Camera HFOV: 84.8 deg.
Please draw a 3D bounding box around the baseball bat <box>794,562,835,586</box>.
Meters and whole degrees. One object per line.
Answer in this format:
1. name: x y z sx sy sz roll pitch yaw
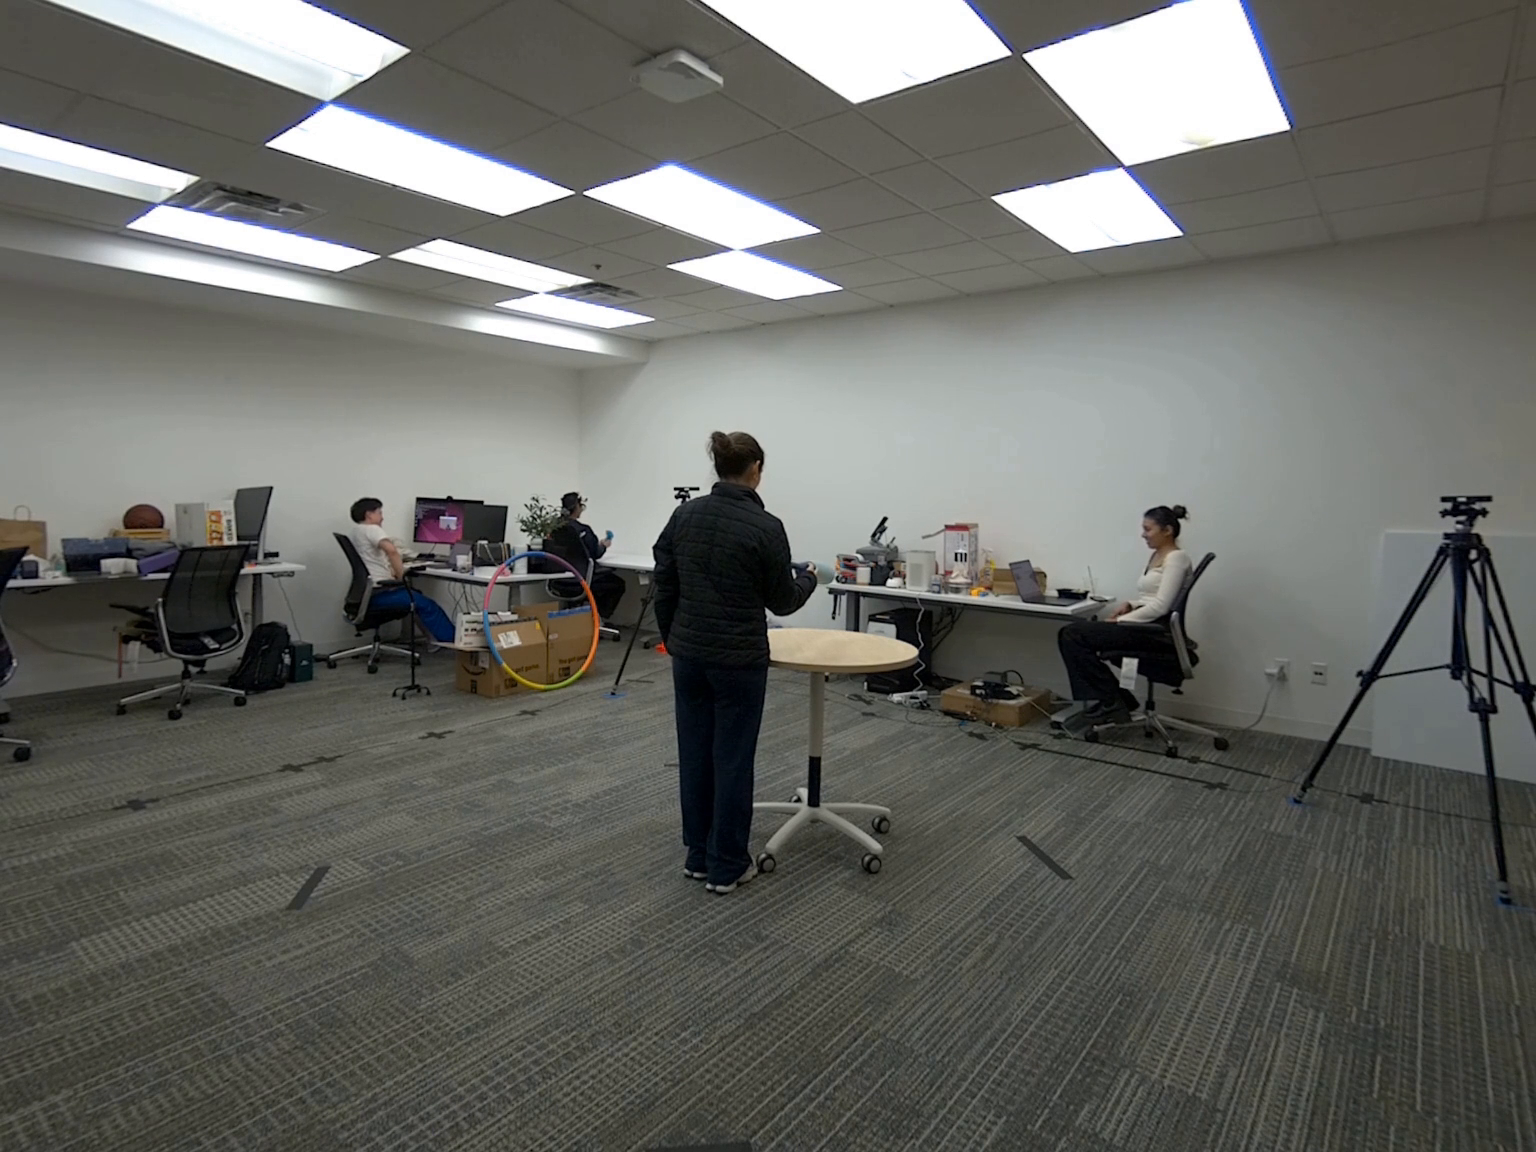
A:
1. baseball bat: 0.167 -0.025 3.339 0.091 0.089 0.528 2 -3 21
